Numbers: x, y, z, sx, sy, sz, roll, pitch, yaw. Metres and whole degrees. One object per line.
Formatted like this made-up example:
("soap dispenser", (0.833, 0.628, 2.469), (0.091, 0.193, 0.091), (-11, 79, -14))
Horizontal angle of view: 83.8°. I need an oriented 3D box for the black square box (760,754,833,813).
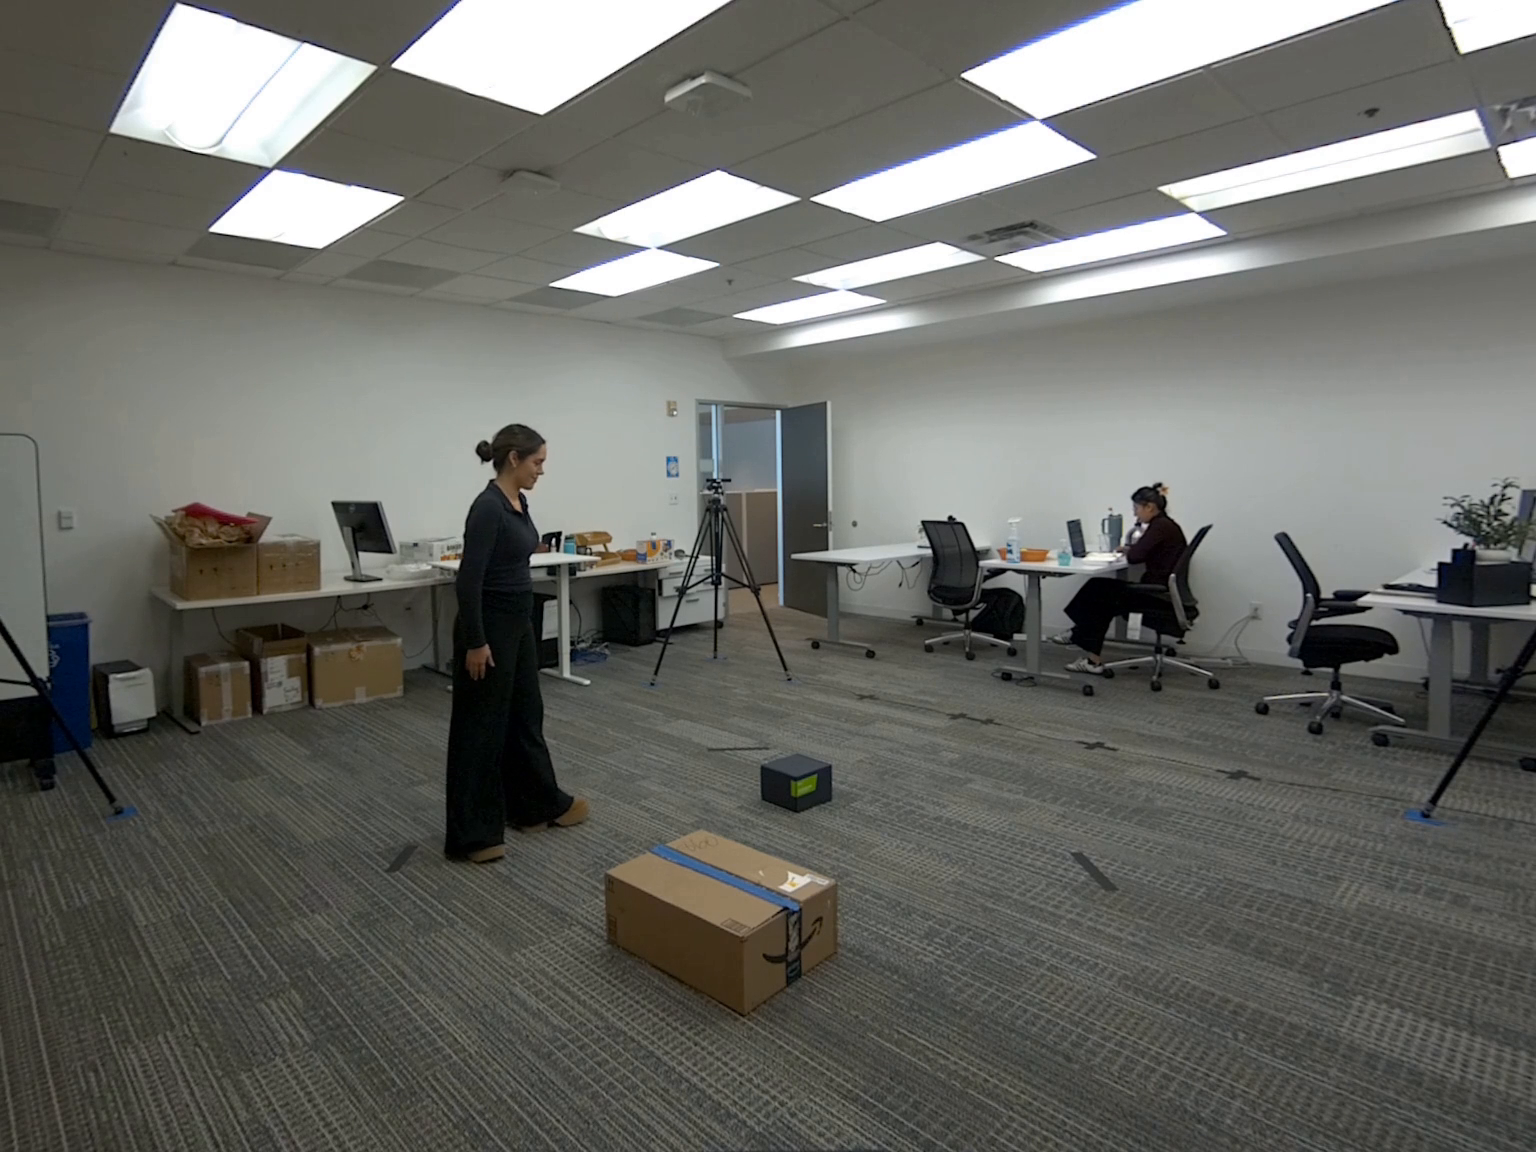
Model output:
("black square box", (0.123, 0.887, 3.701), (0.222, 0.155, 0.224), (-6, 7, -43))
